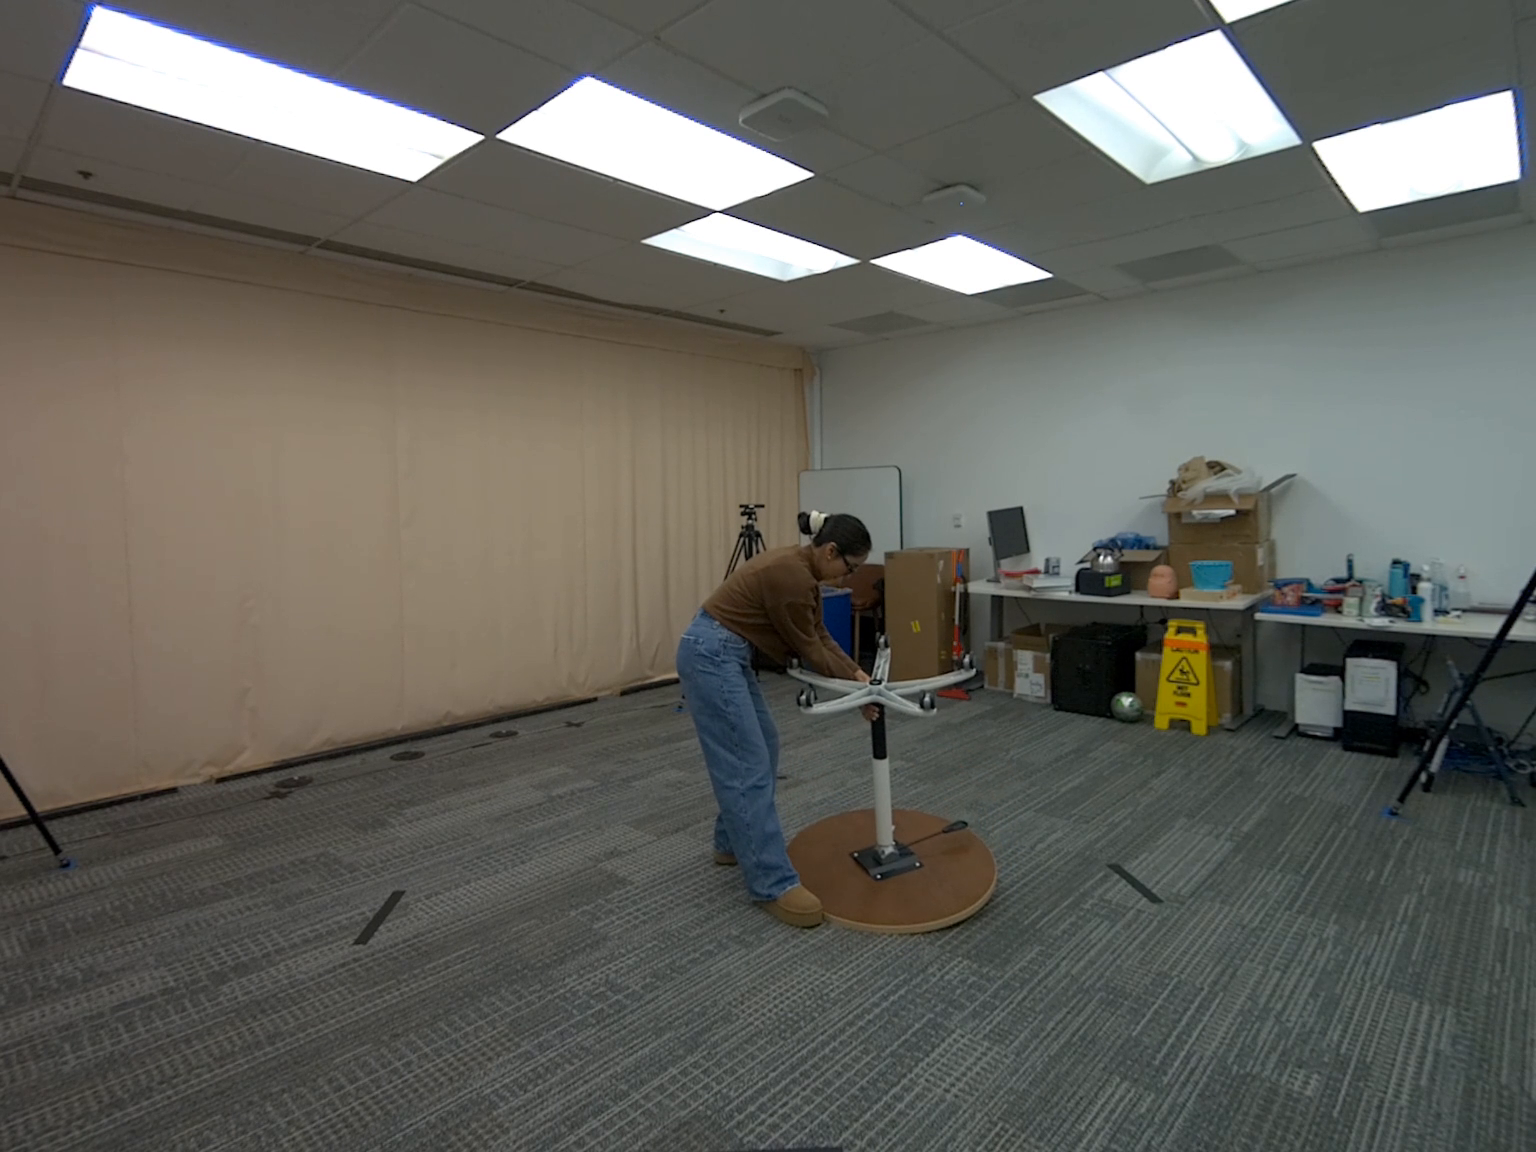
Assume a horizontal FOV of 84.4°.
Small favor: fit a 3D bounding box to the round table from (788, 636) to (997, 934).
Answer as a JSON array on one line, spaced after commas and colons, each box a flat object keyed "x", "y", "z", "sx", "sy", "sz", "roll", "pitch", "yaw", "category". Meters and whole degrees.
[{"x": 0.423, "y": 0.688, "z": 3.006, "sx": 0.764, "sy": 0.787, "sz": 0.770, "roll": -6, "pitch": 12, "yaw": -1, "category": "round table"}]
